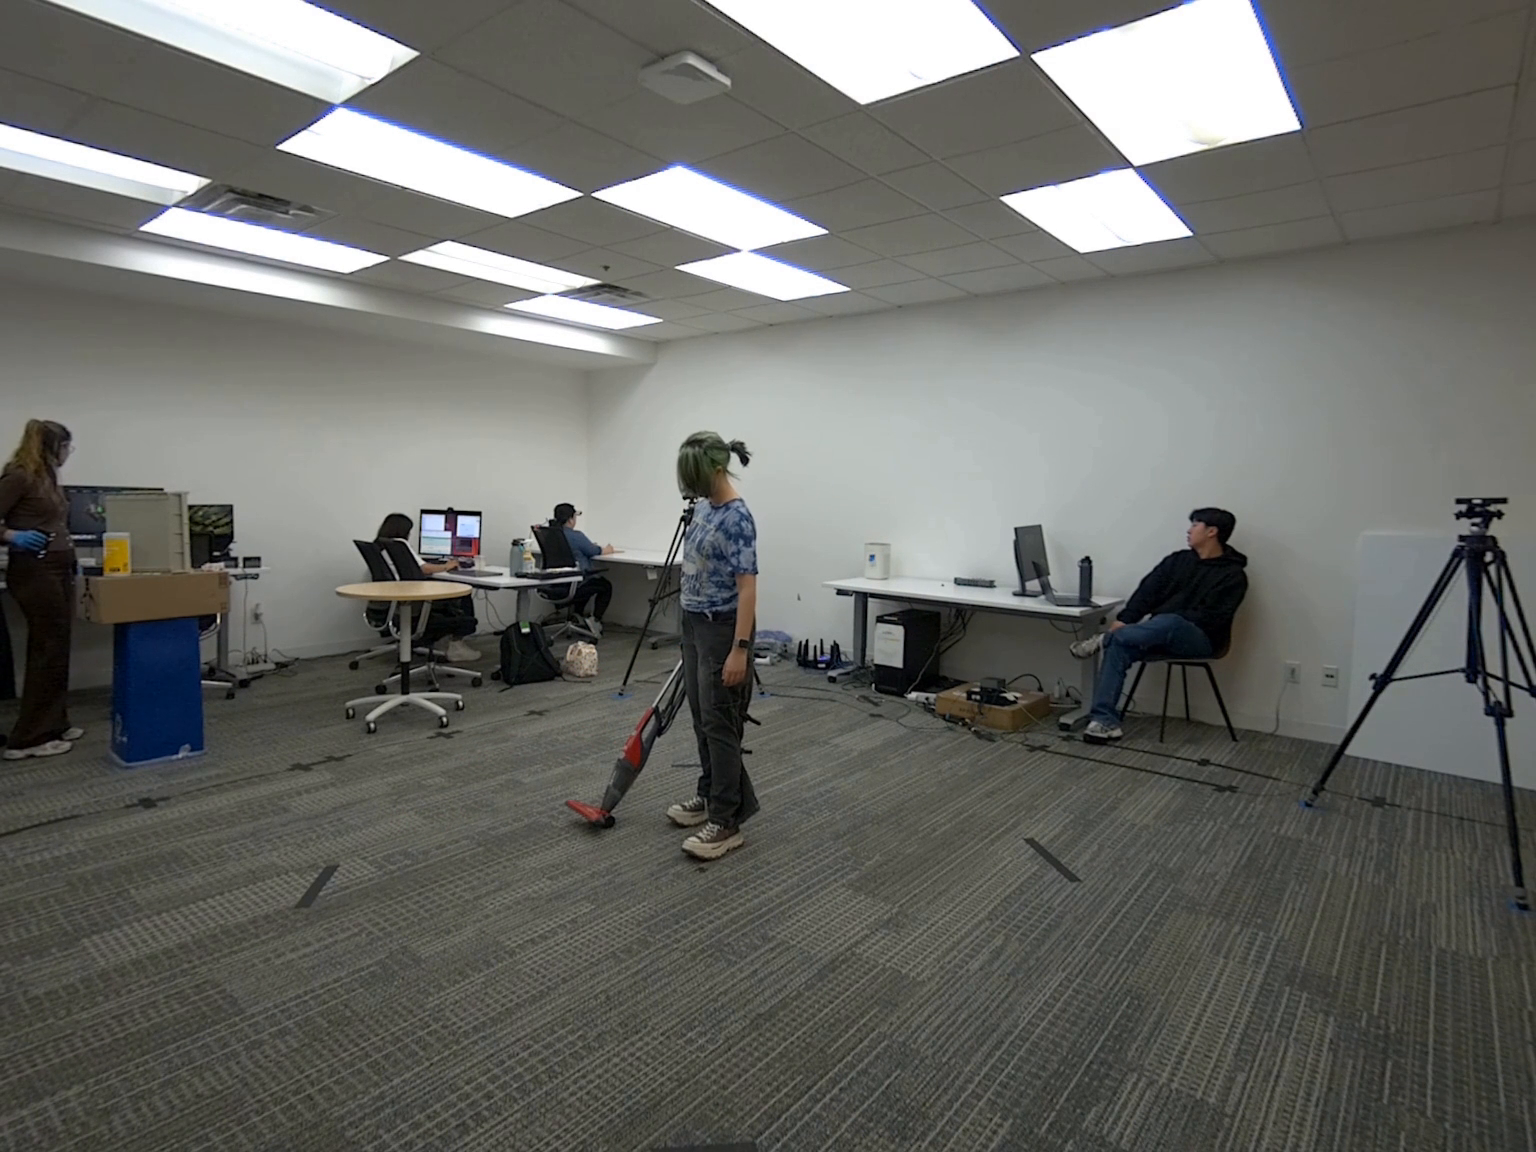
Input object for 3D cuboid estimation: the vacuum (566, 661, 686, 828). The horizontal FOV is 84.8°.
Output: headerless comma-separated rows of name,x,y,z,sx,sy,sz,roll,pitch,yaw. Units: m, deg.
vacuum,-0.478,0.591,3.684,0.261,1.053,0.139,6,-35,50
